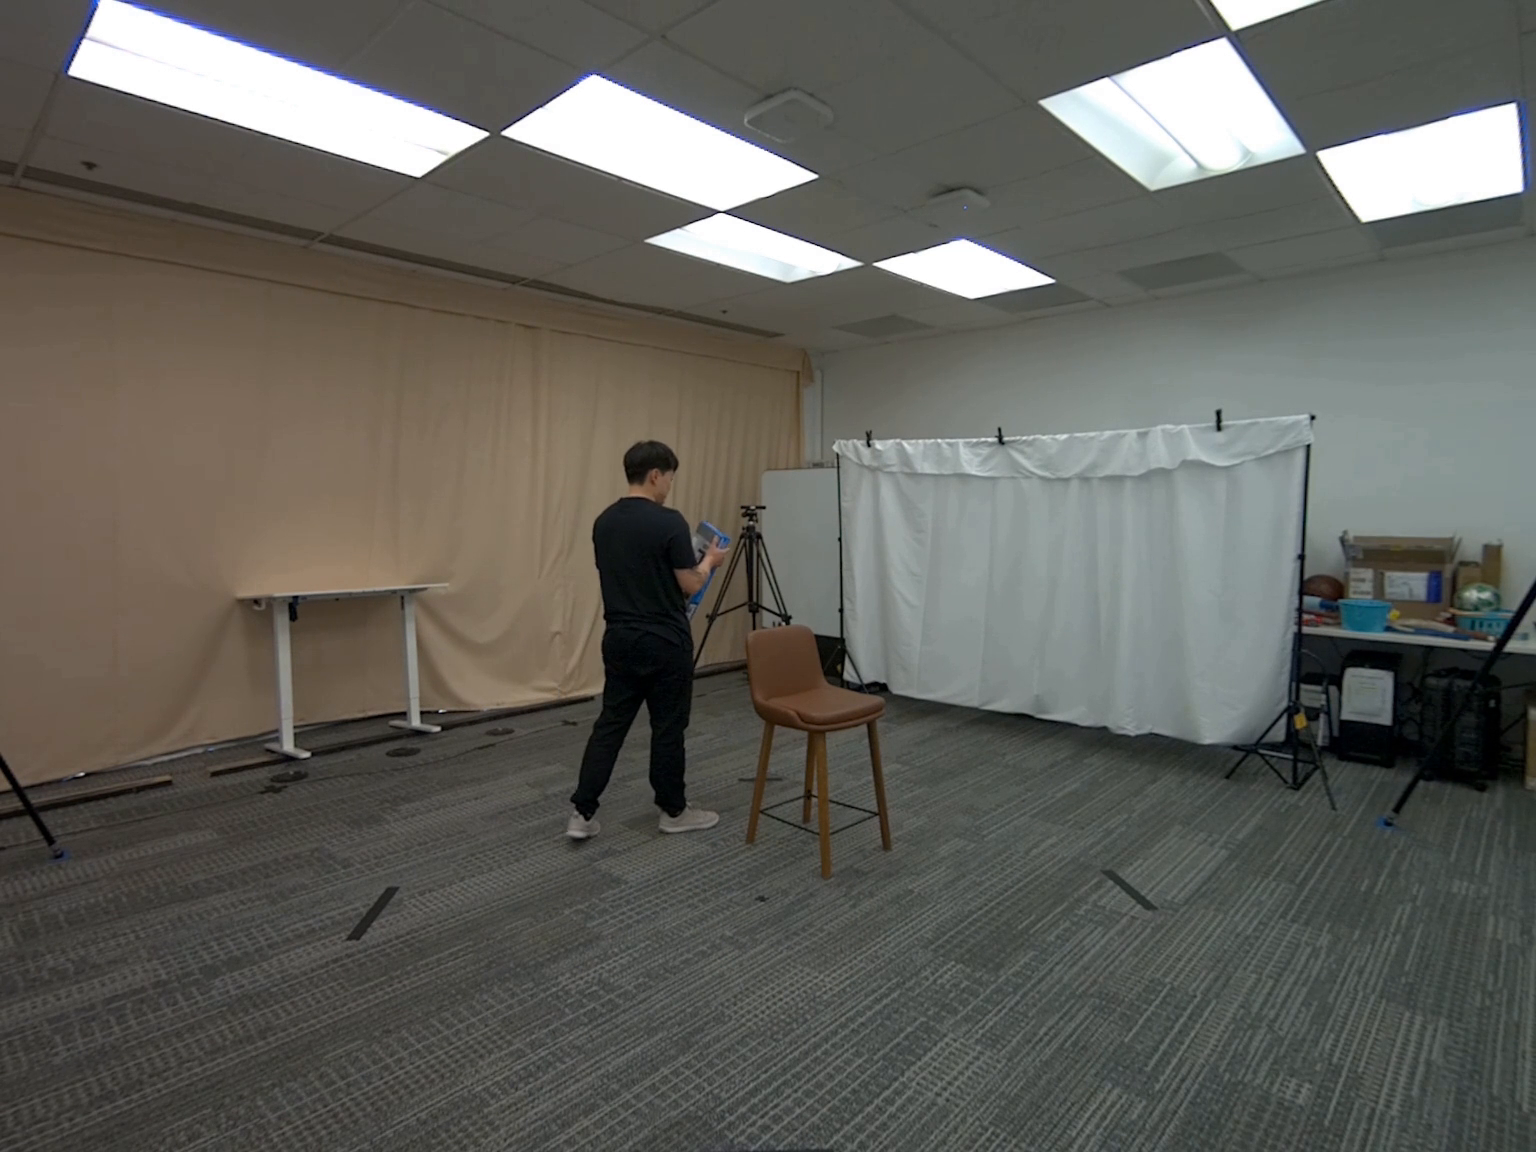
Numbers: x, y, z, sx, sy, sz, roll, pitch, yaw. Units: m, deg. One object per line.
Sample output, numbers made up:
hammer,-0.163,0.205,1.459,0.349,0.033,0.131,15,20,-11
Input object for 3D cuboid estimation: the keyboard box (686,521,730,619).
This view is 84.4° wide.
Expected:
keyboard box,-0.333,-0.015,3.779,0.057,0.436,0.182,15,16,-45
